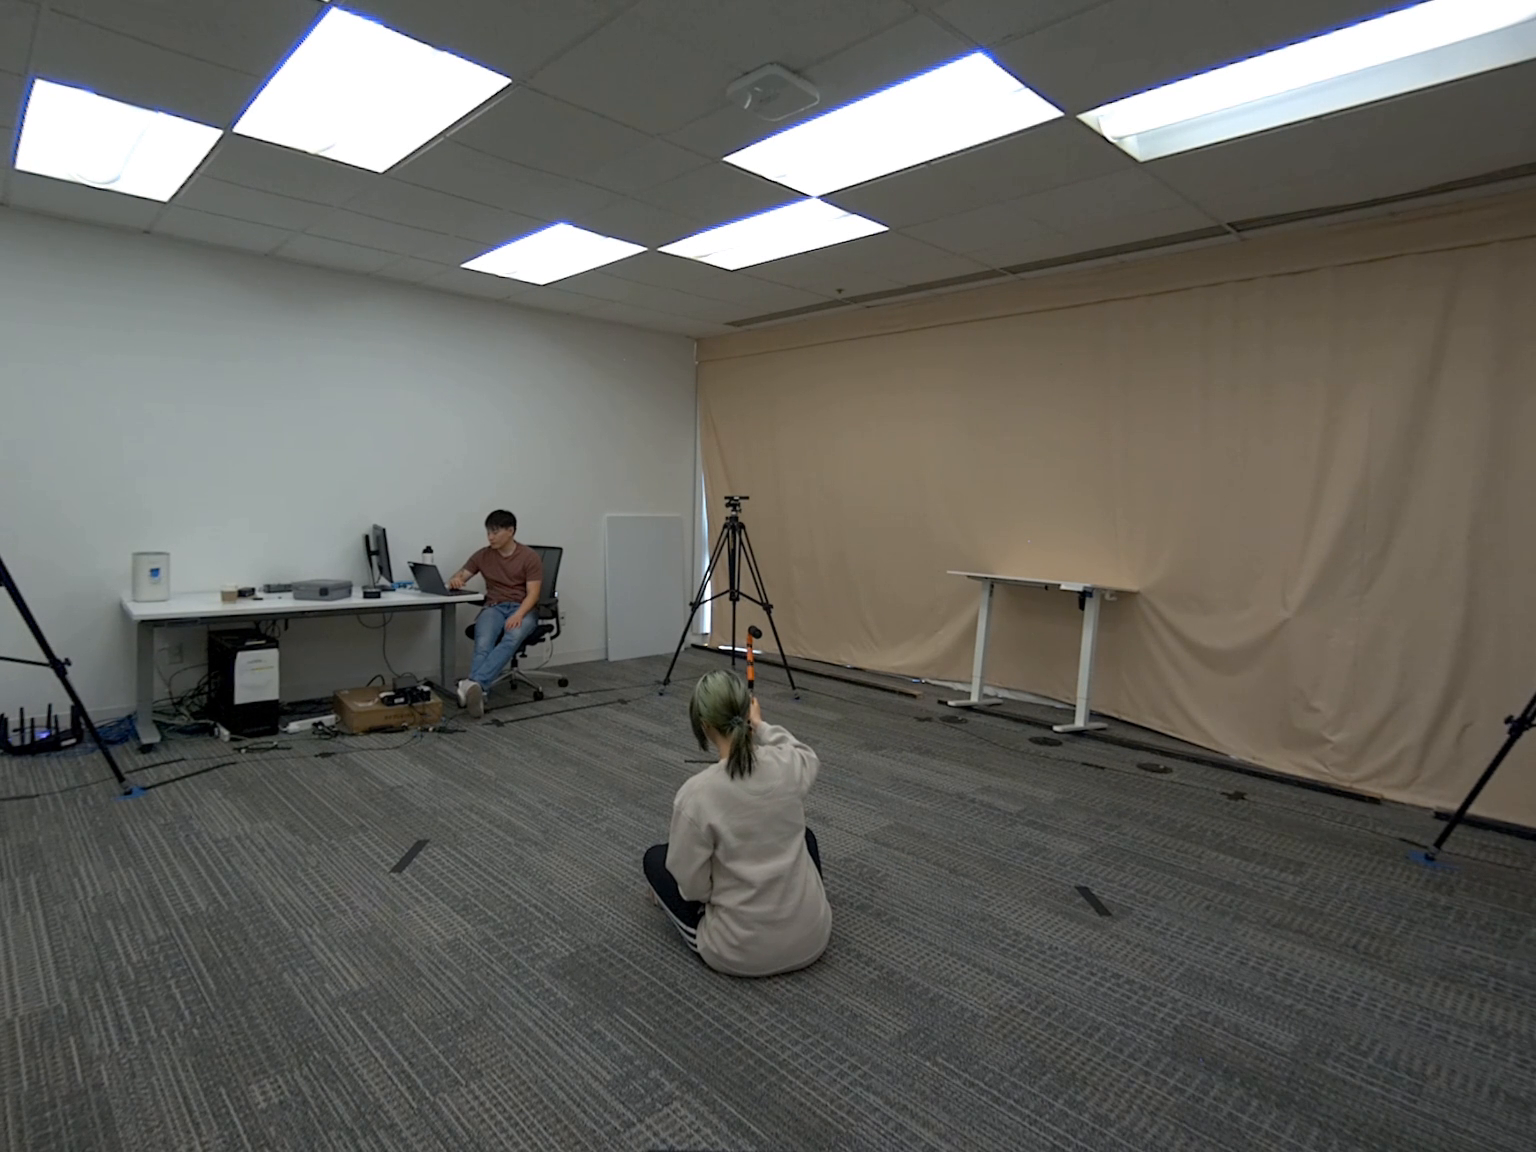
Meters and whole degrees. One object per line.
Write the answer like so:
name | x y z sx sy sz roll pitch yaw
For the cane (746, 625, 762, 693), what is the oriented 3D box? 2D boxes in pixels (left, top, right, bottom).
cane | -0.063 0.652 3.154 0.151 0.906 0.208 3 2 -7
